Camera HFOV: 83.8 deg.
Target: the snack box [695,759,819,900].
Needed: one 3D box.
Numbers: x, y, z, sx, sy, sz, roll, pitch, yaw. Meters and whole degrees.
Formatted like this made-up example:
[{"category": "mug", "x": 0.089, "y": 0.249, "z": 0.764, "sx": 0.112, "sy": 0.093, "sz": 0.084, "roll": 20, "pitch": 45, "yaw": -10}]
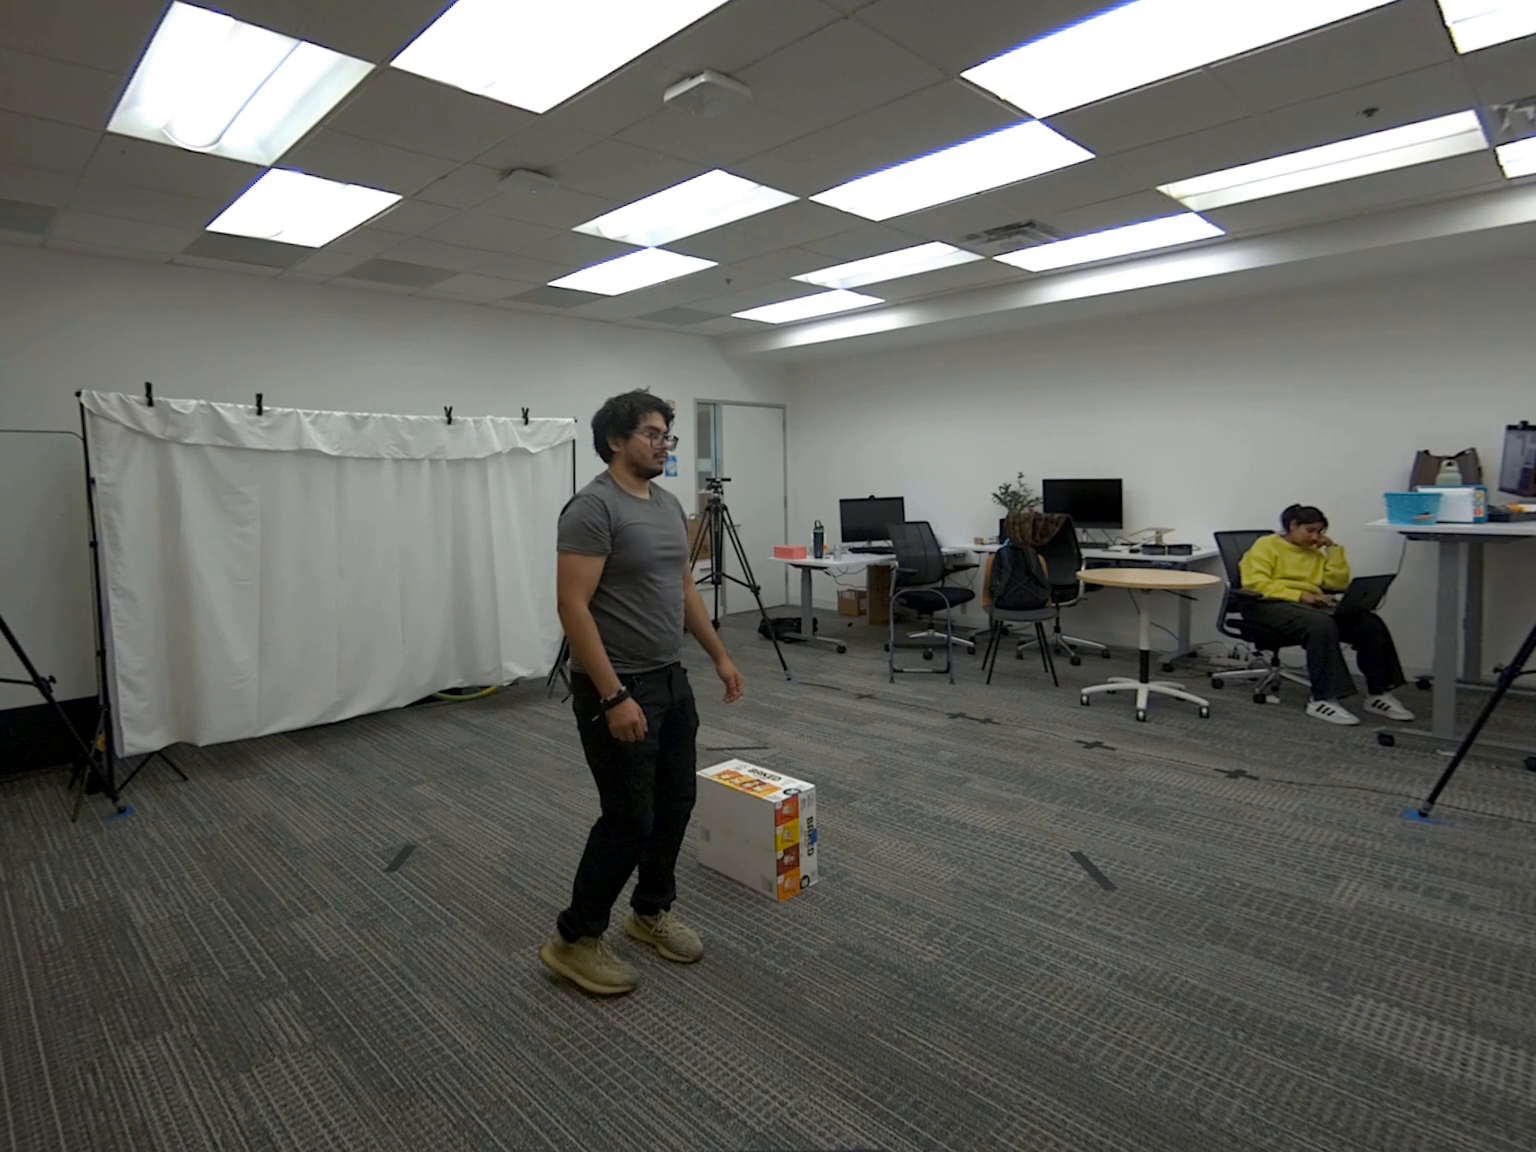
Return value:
[{"category": "snack box", "x": -0.043, "y": 0.883, "z": 3.015, "sx": 0.200, "sy": 0.339, "sz": 0.418, "roll": -5, "pitch": 7, "yaw": -44}]
